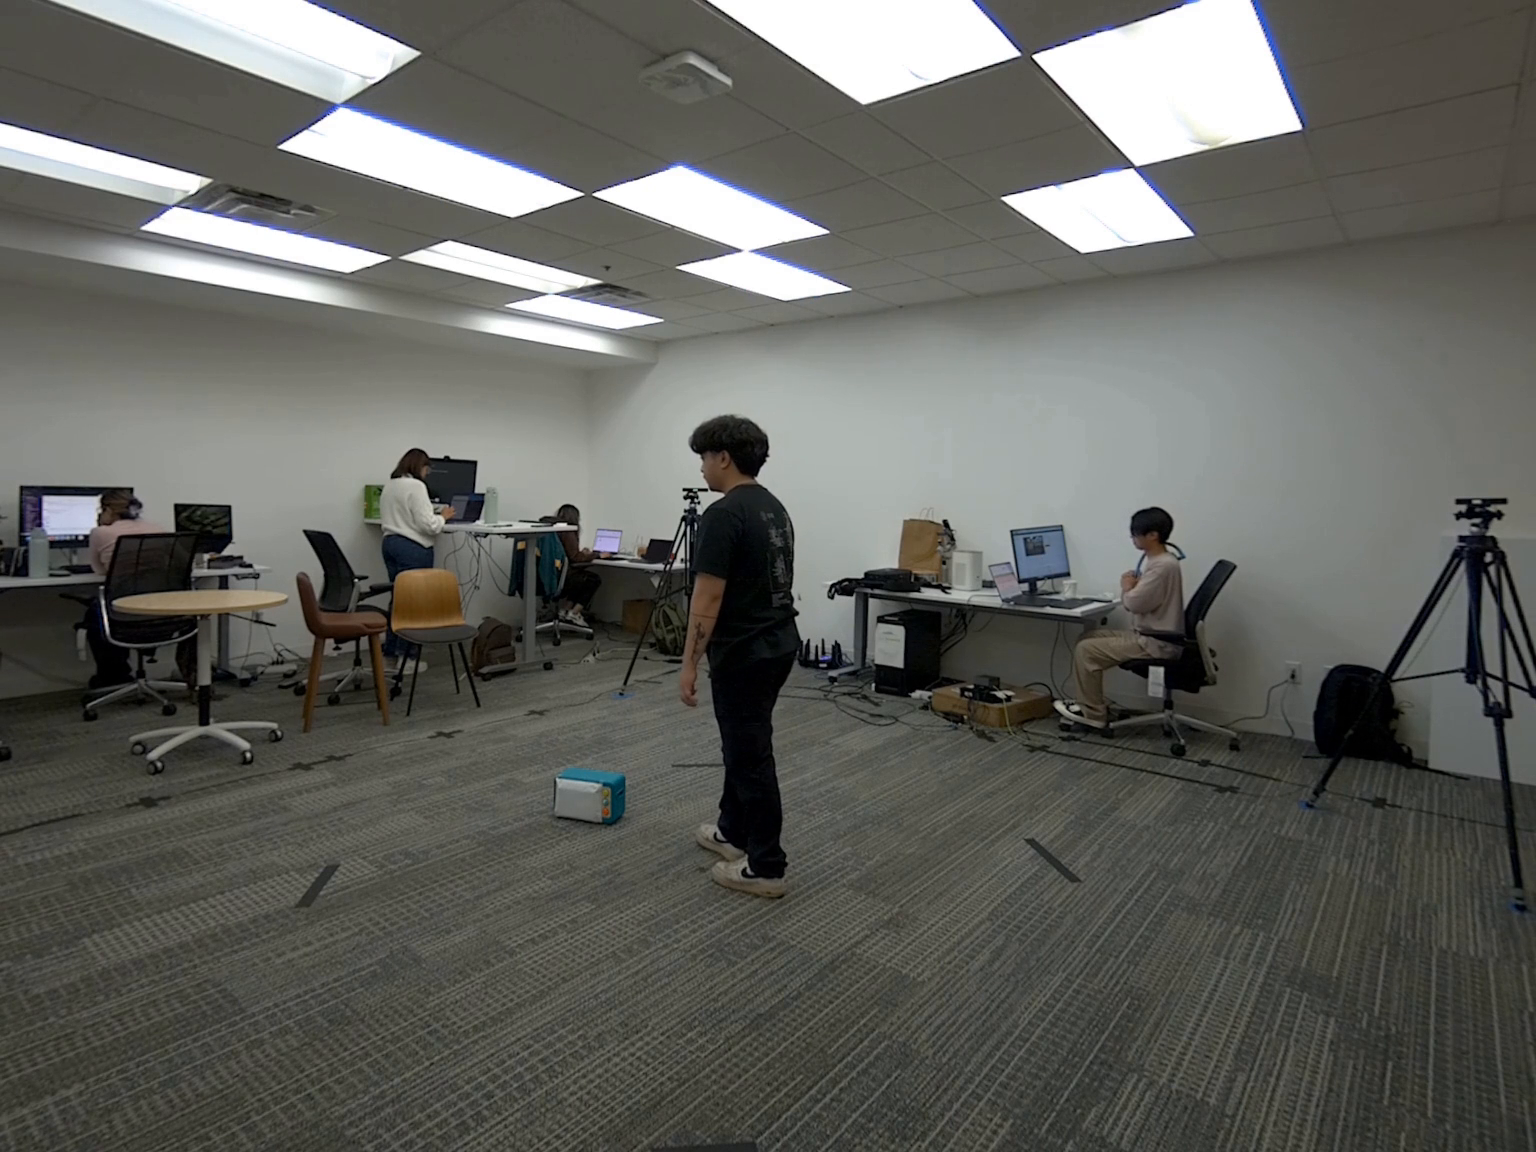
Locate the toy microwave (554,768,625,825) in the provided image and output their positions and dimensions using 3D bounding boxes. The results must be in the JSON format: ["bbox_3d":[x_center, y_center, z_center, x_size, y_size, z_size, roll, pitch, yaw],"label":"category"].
[{"bbox_3d":[-0.766,0.924,3.580,0.291,0.183,0.150,2,4,17],"label":"toy microwave"}]
